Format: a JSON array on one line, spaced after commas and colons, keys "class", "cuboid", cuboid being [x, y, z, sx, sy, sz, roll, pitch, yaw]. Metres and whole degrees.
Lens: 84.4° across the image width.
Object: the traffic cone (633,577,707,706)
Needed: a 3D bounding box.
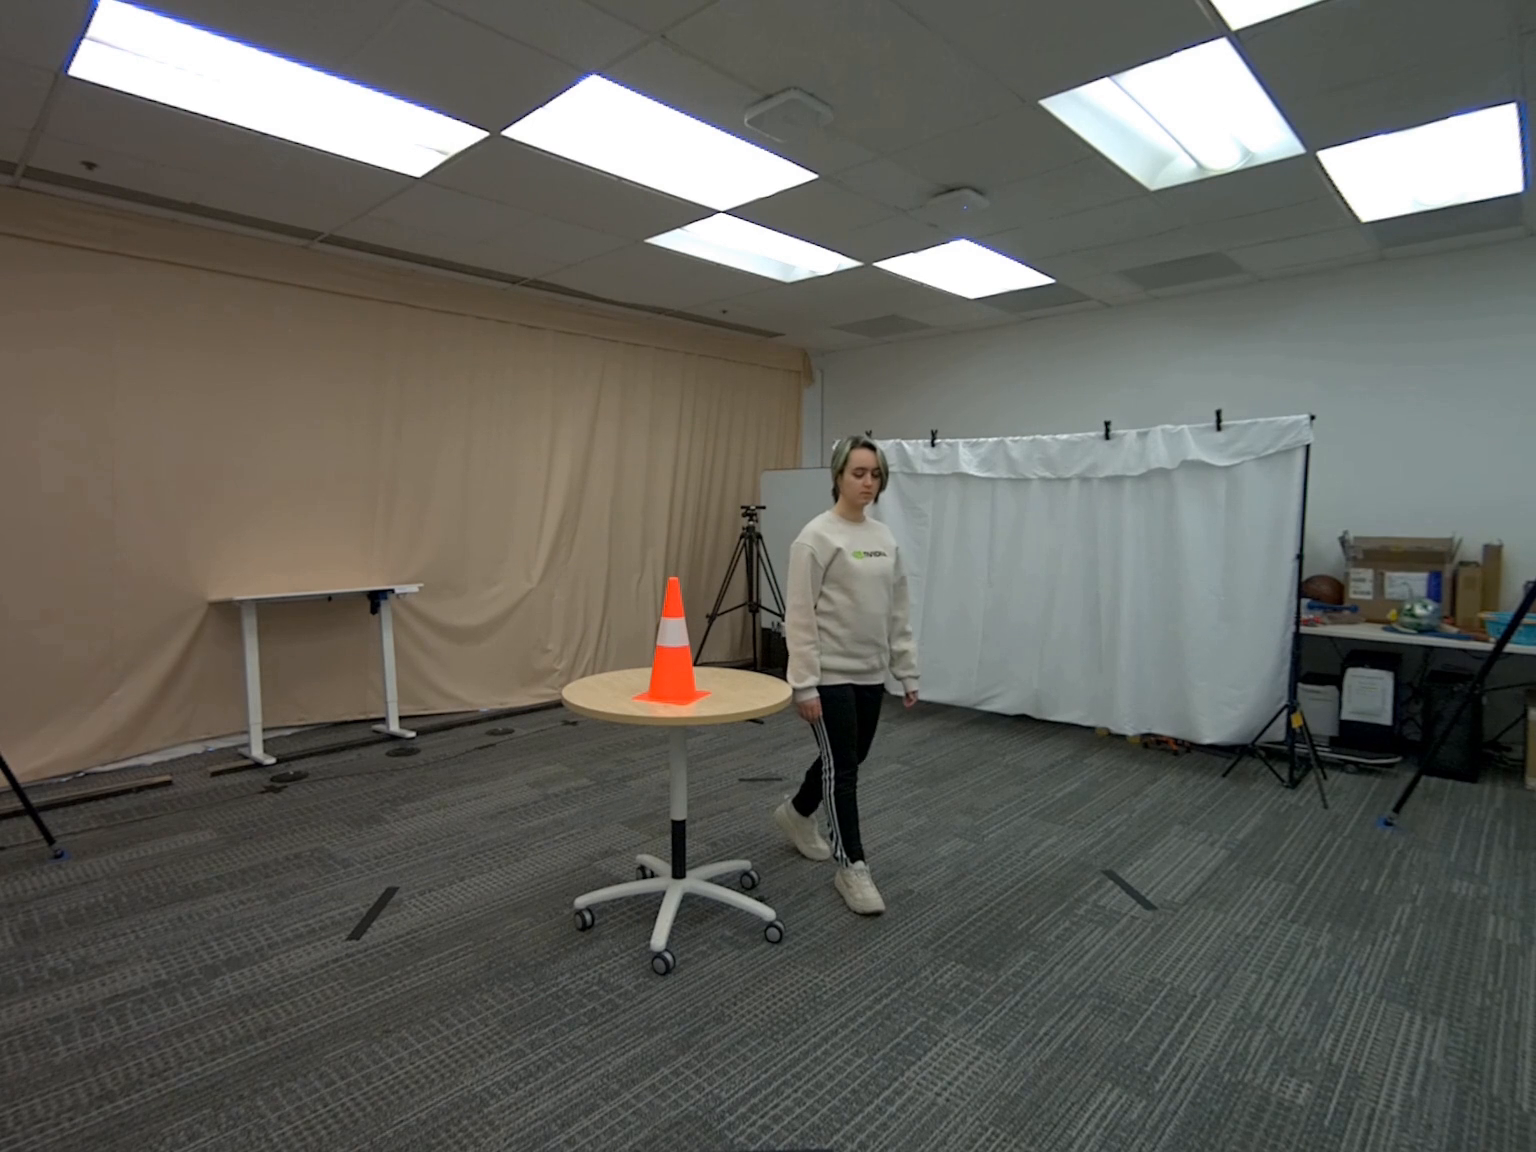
[{"class": "traffic cone", "cuboid": [-0.303, 0.198, 2.697, 0.210, 0.383, 0.199, 2, 2, 23]}]
